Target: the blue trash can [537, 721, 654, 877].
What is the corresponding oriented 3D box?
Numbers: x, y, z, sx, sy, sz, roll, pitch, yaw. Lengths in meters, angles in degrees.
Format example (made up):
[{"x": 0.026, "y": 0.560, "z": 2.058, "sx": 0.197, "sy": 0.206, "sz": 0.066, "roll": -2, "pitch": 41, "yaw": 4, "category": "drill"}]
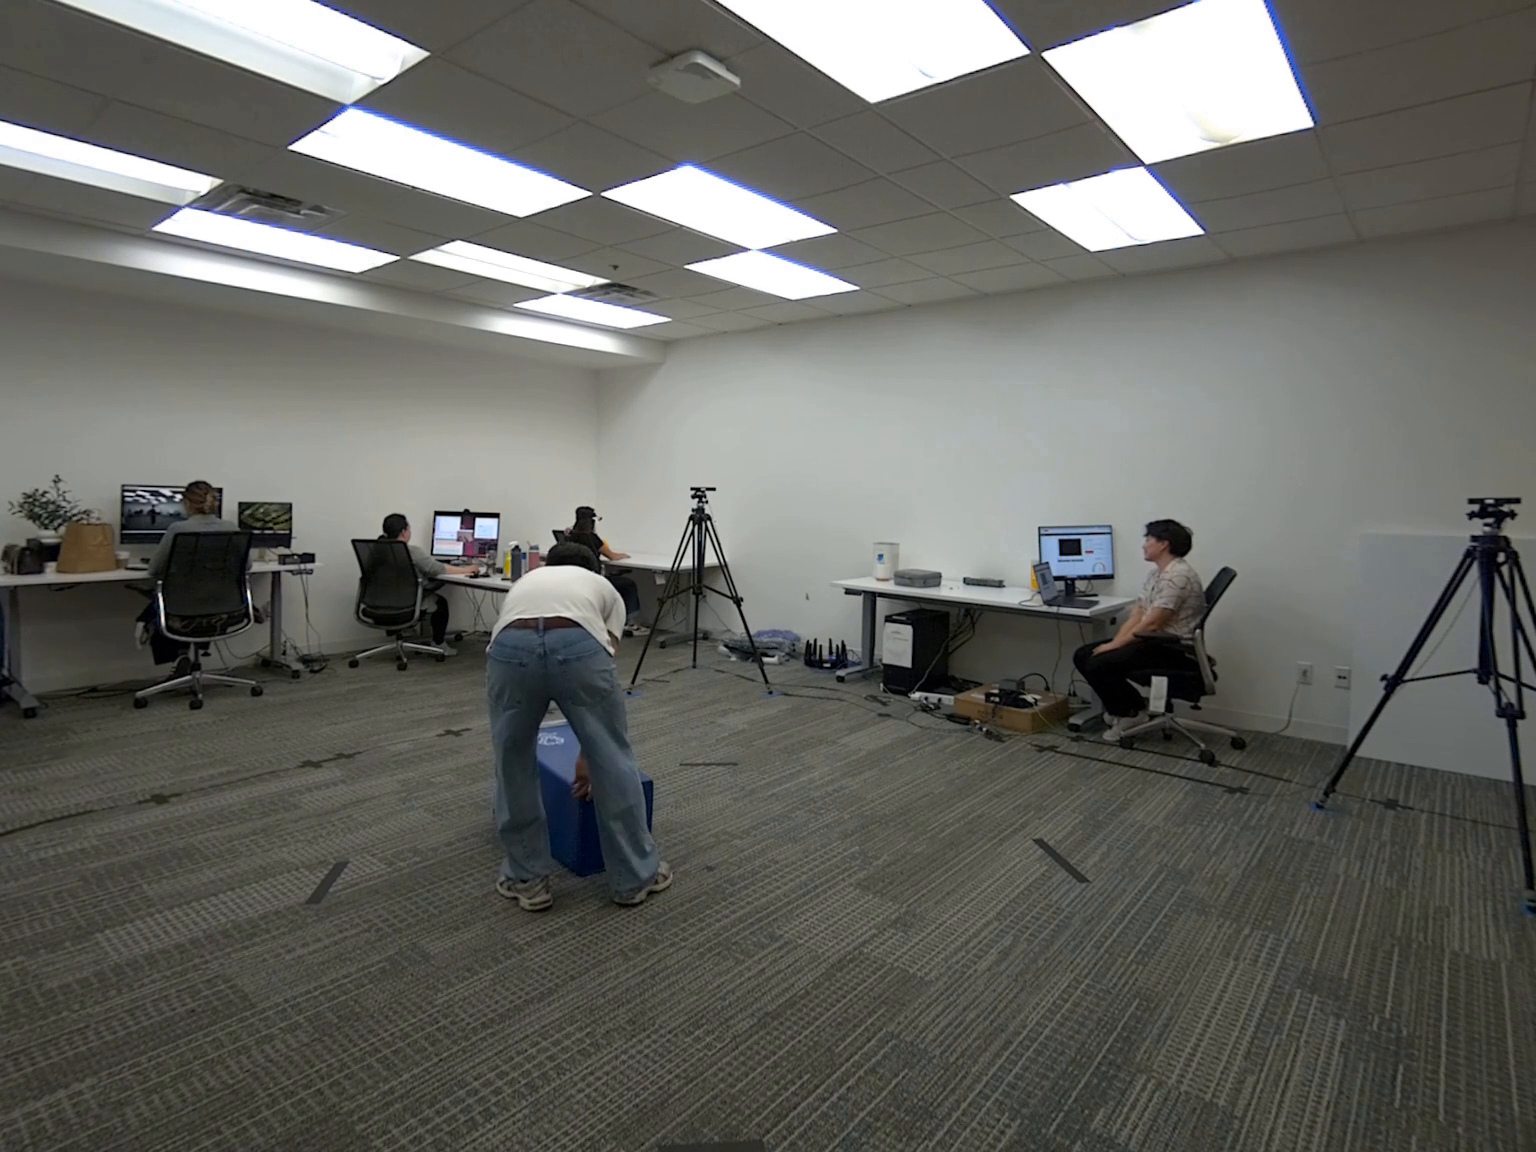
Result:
[{"x": -0.778, "y": 0.862, "z": 3.366, "sx": 0.362, "sy": 0.376, "sz": 0.739, "roll": -1, "pitch": 8, "yaw": -40, "category": "blue trash can"}]
